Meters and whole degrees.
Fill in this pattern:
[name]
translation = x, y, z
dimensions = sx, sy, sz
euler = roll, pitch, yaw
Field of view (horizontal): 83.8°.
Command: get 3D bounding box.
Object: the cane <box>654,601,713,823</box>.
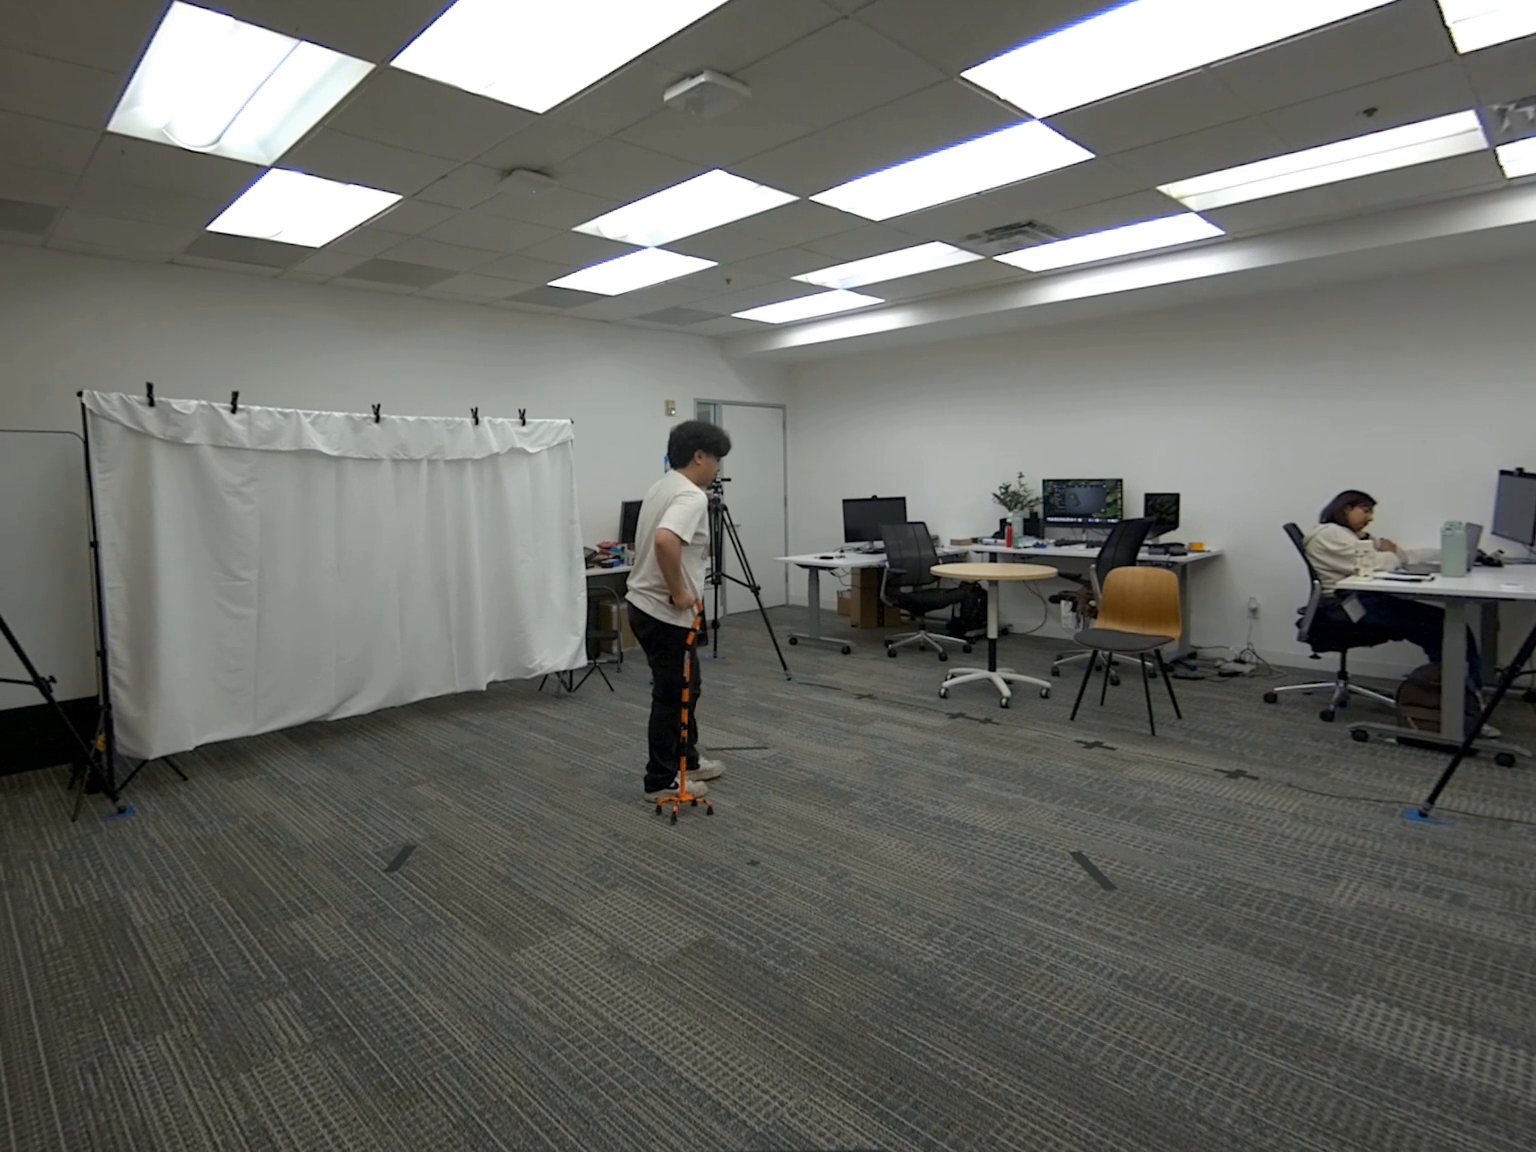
[cane]
translation = -0.321, 0.544, 3.548
dimensions = 0.201, 0.905, 0.156
euler = 1, 4, -34
